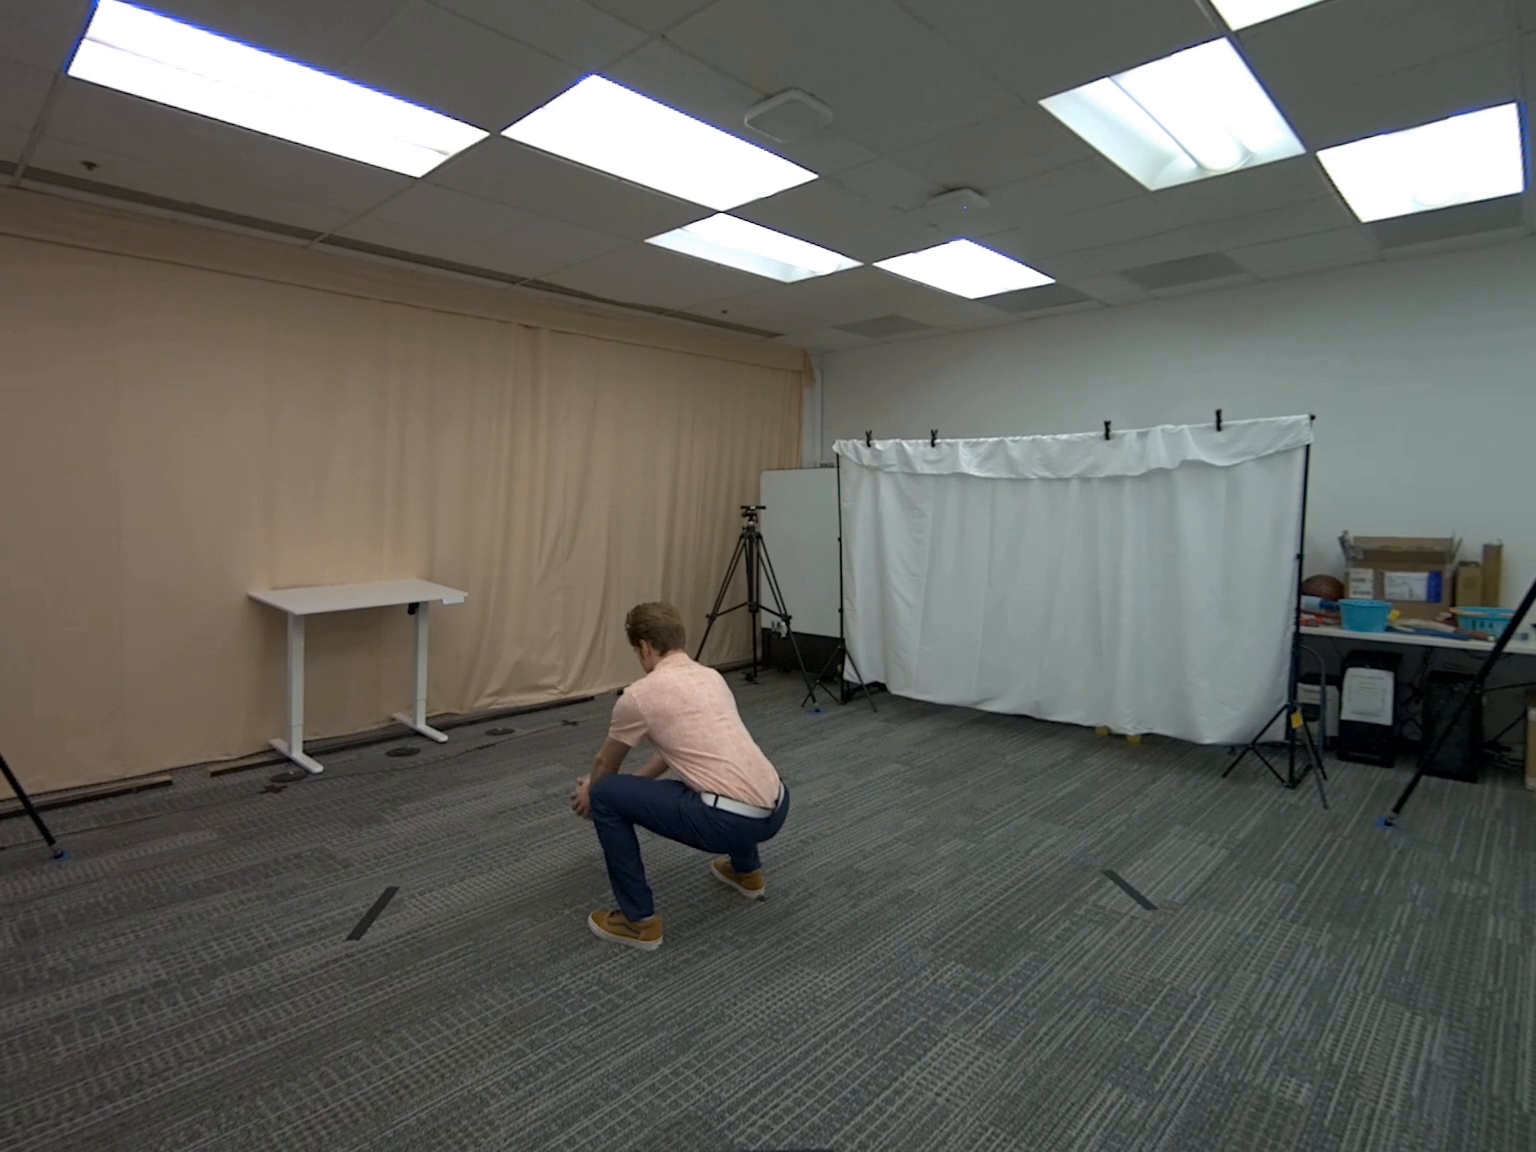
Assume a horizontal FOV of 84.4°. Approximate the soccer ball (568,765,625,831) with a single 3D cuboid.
[{"bbox_3d":[-0.660,0.851,3.265,0.187,0.187,0.188,0,4,-2],"label":"soccer ball"}]
